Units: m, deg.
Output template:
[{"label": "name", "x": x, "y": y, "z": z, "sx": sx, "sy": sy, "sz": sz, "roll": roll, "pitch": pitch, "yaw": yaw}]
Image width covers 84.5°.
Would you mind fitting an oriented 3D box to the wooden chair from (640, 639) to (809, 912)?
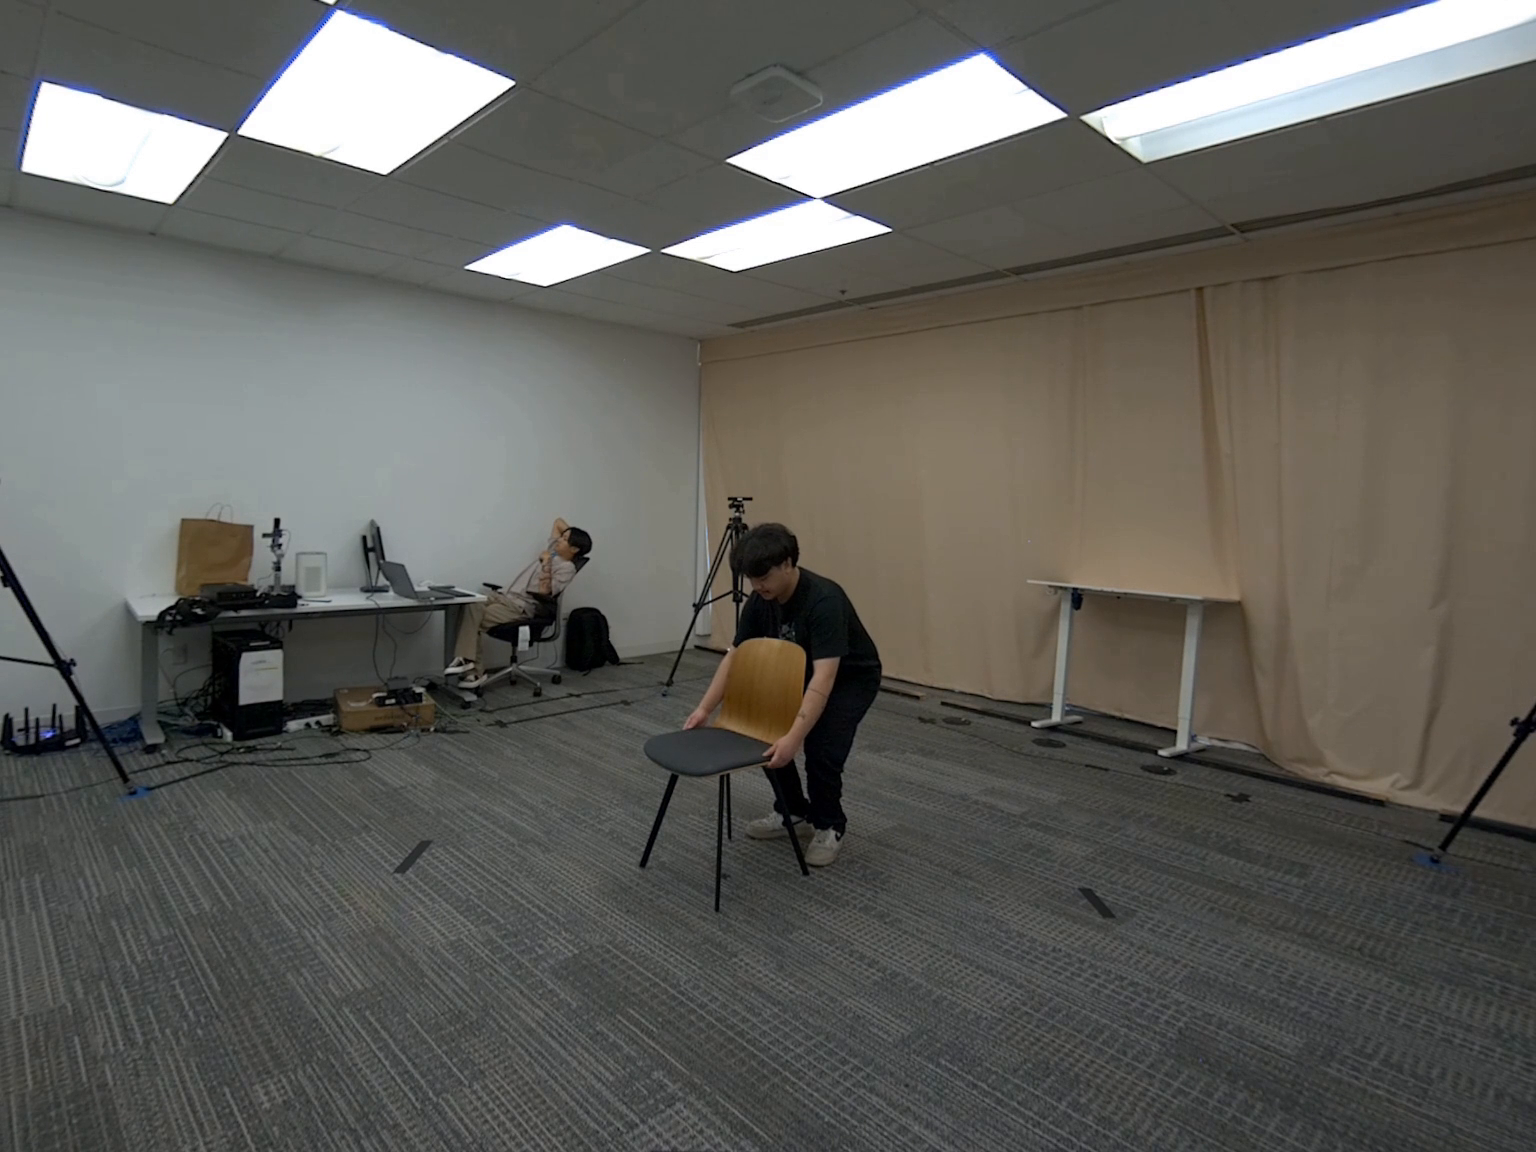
[{"label": "wooden chair", "x": -0.168, "y": 0.685, "z": 3.101, "sx": 0.510, "sy": 0.877, "sz": 0.490, "roll": 5, "pitch": 1, "yaw": -43}]
